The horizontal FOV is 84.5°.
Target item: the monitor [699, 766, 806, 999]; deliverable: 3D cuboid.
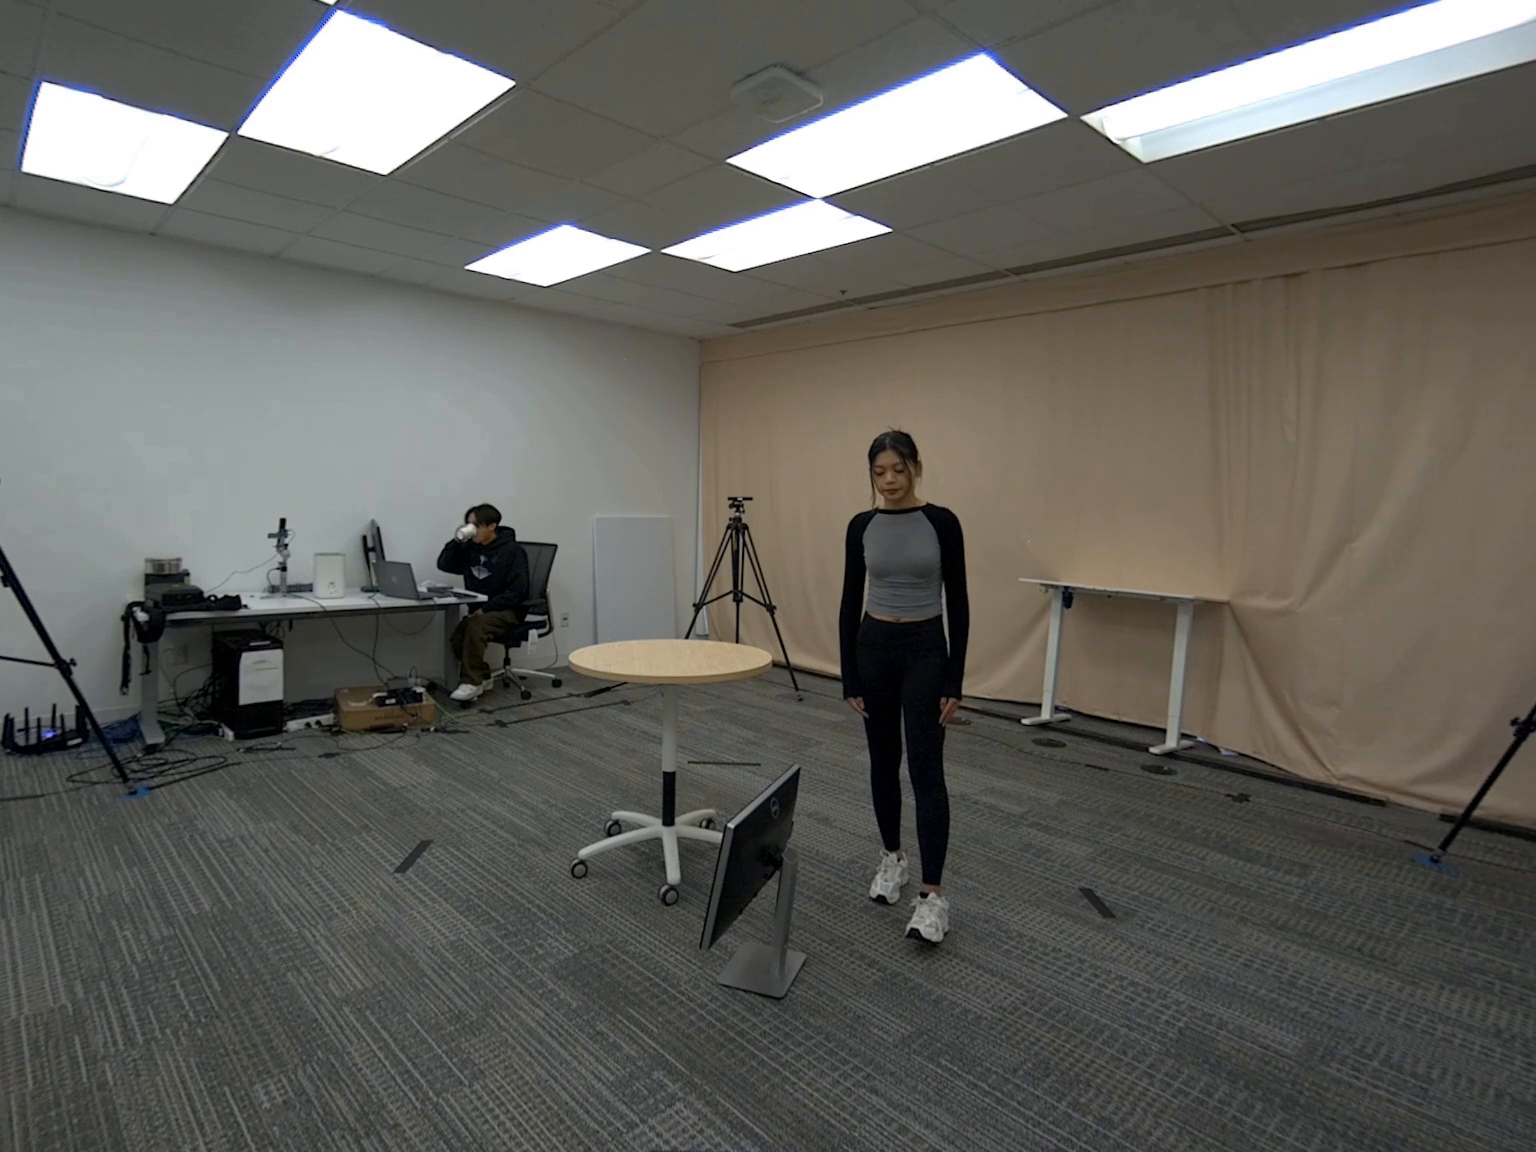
[{"bbox_3d":[-0.012,0.902,2.464,0.190,0.521,0.532,1,5,20],"label":"monitor"}]
